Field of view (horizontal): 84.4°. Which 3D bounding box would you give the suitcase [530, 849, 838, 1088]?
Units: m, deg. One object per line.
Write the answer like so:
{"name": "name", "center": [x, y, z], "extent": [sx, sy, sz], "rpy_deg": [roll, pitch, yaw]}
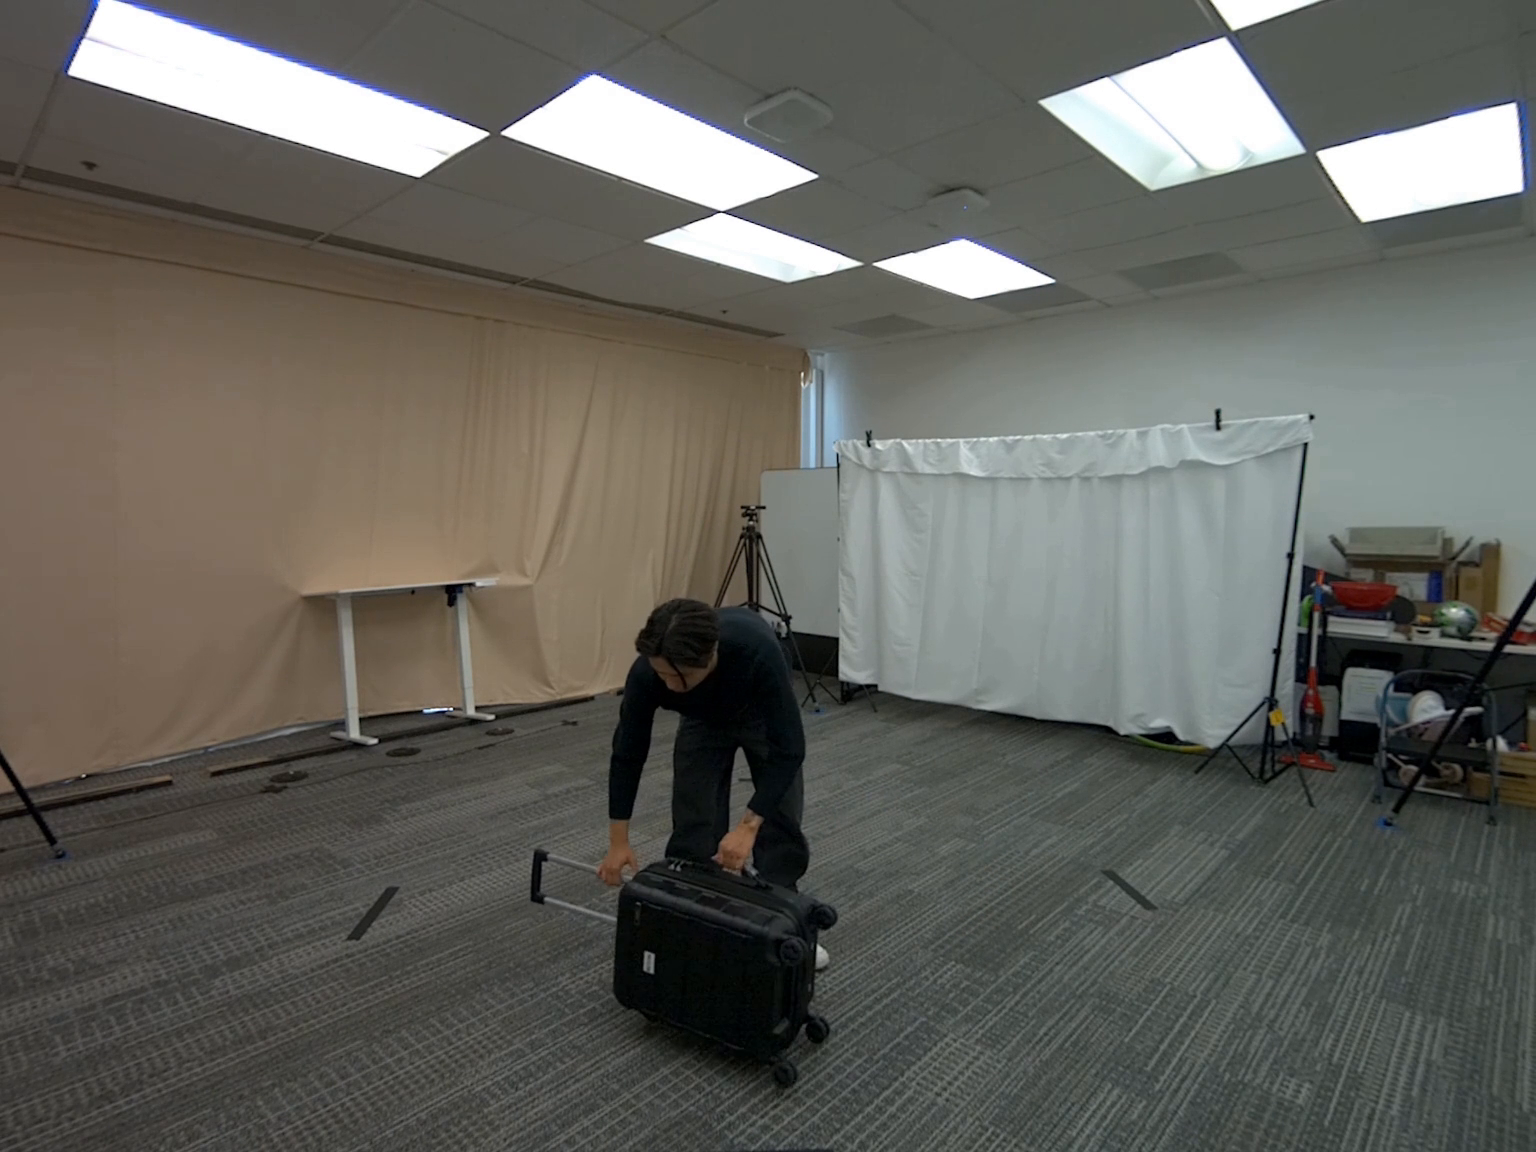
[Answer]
{"name": "suitcase", "center": [-0.310, 0.964, 2.279], "extent": [1.005, 0.383, 0.250], "rpy_deg": [5, 3, 26]}
